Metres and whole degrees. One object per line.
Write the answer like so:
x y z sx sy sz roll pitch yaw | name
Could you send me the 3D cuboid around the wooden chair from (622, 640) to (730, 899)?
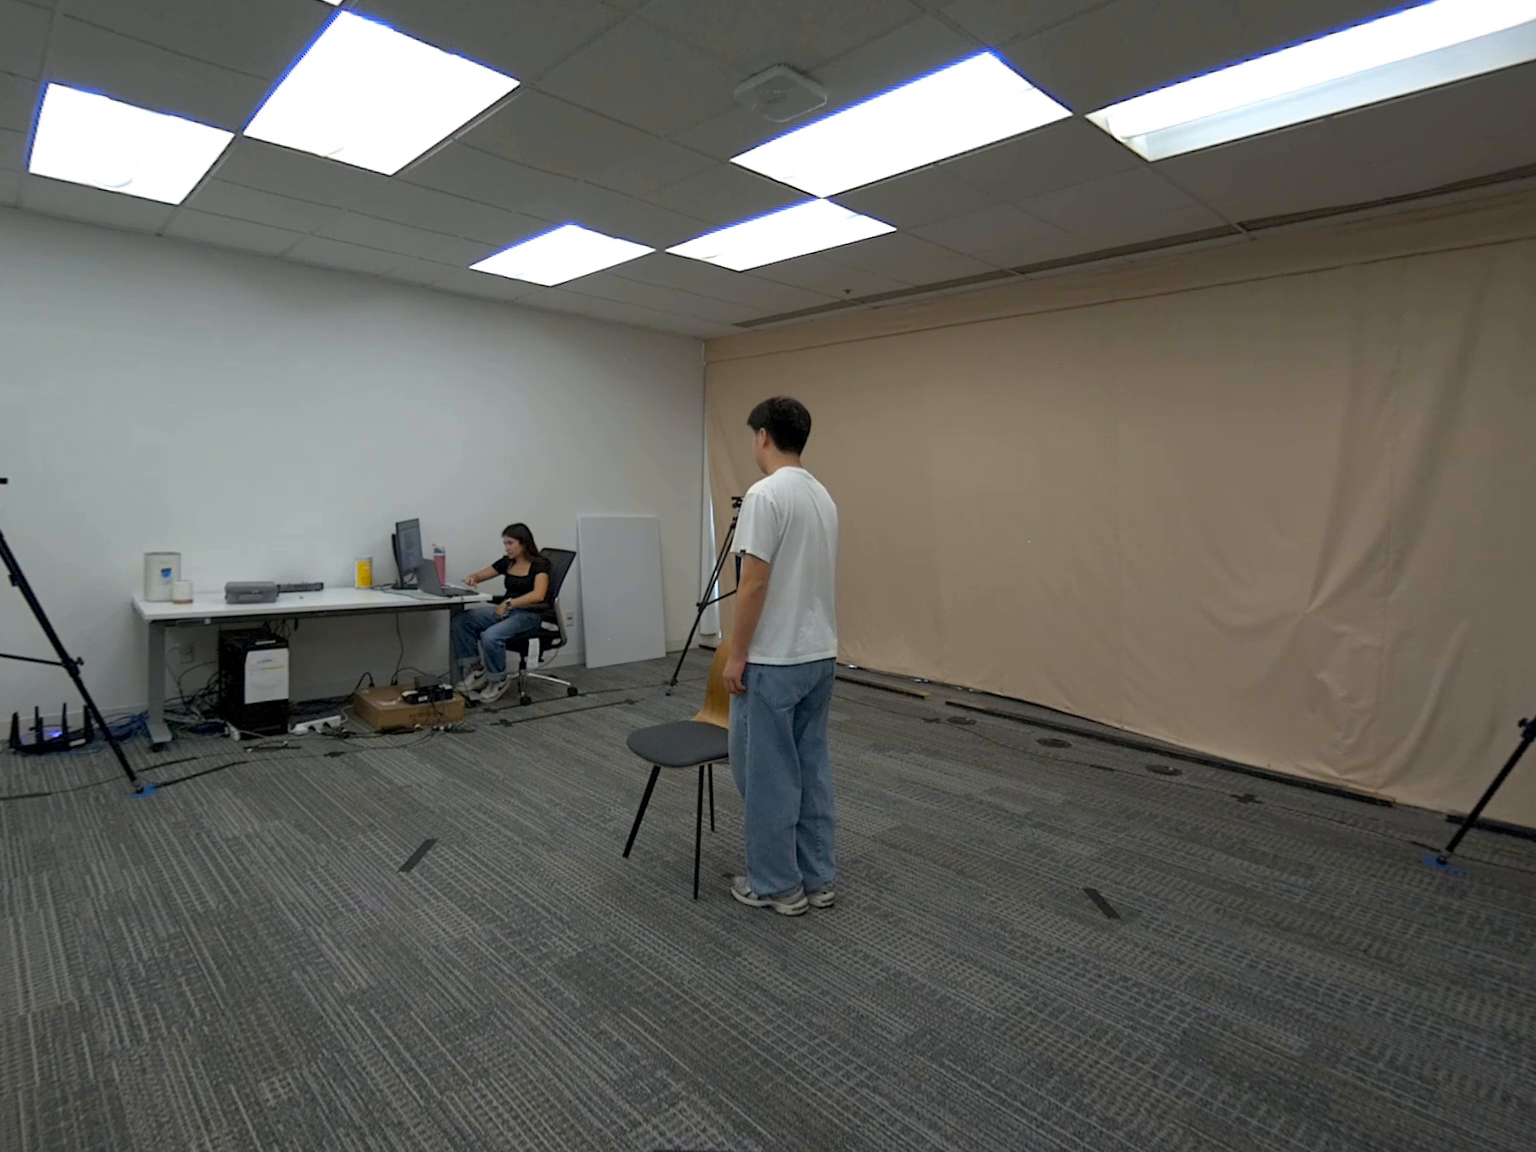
-0.247 0.670 3.194 0.510 0.877 0.490 4 1 -42 | wooden chair
